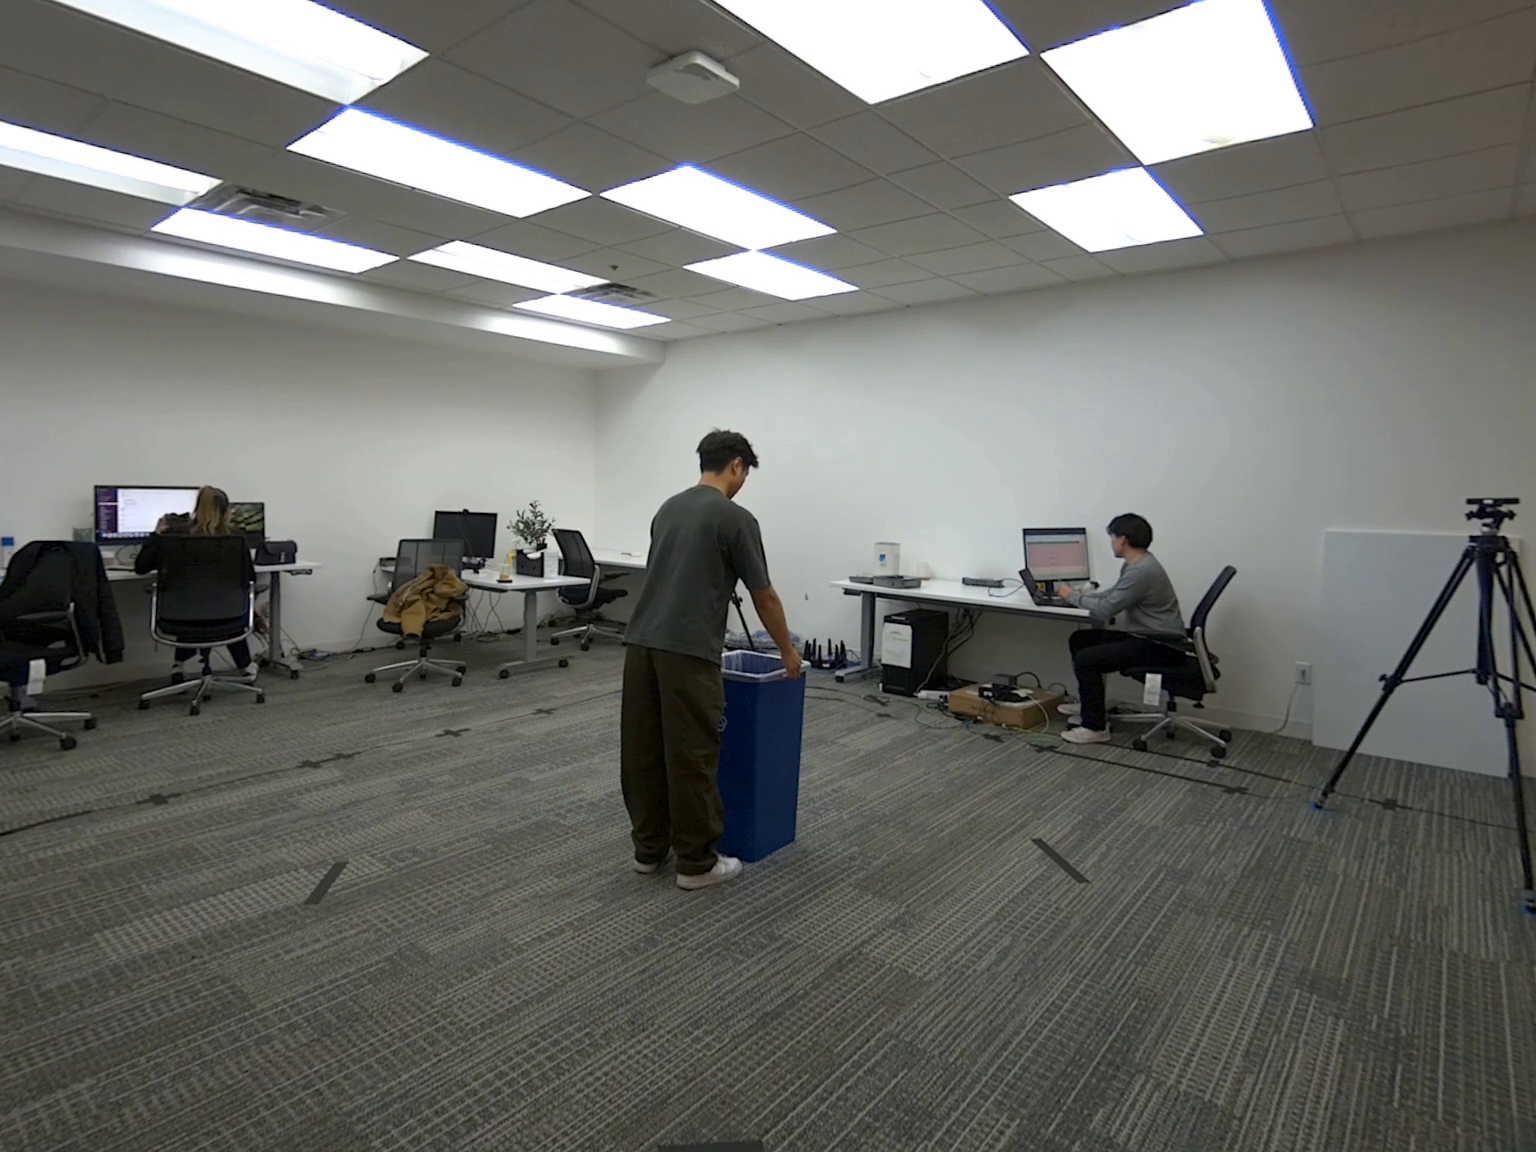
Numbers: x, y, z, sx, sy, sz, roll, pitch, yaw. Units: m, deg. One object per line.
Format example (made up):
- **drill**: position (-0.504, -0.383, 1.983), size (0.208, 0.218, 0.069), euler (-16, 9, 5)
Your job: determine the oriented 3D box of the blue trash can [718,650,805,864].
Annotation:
- **blue trash can**: position (-0.091, 0.688, 3.350), size (0.390, 0.711, 0.364), euler (5, 5, 35)
